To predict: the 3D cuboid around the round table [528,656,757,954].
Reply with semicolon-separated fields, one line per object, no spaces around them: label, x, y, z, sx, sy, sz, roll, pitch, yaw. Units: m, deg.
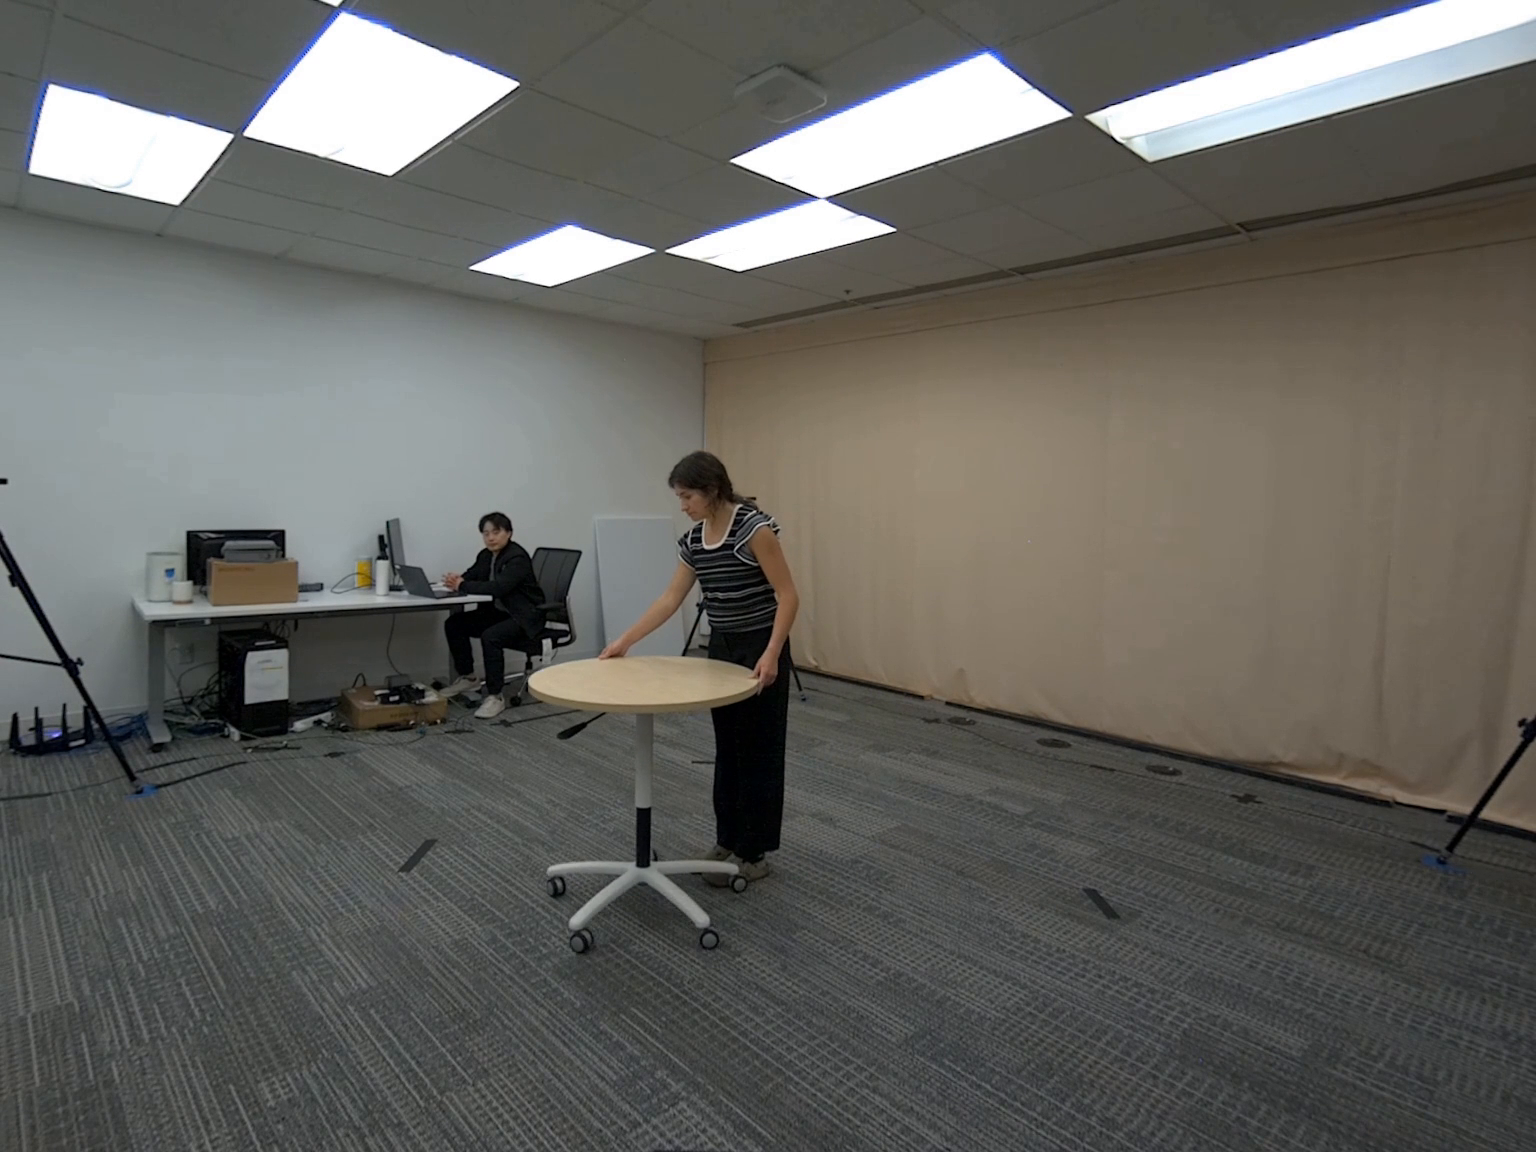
round table;-0.422;0.728;2.850;0.784;0.784;0.788;1;5;-1
